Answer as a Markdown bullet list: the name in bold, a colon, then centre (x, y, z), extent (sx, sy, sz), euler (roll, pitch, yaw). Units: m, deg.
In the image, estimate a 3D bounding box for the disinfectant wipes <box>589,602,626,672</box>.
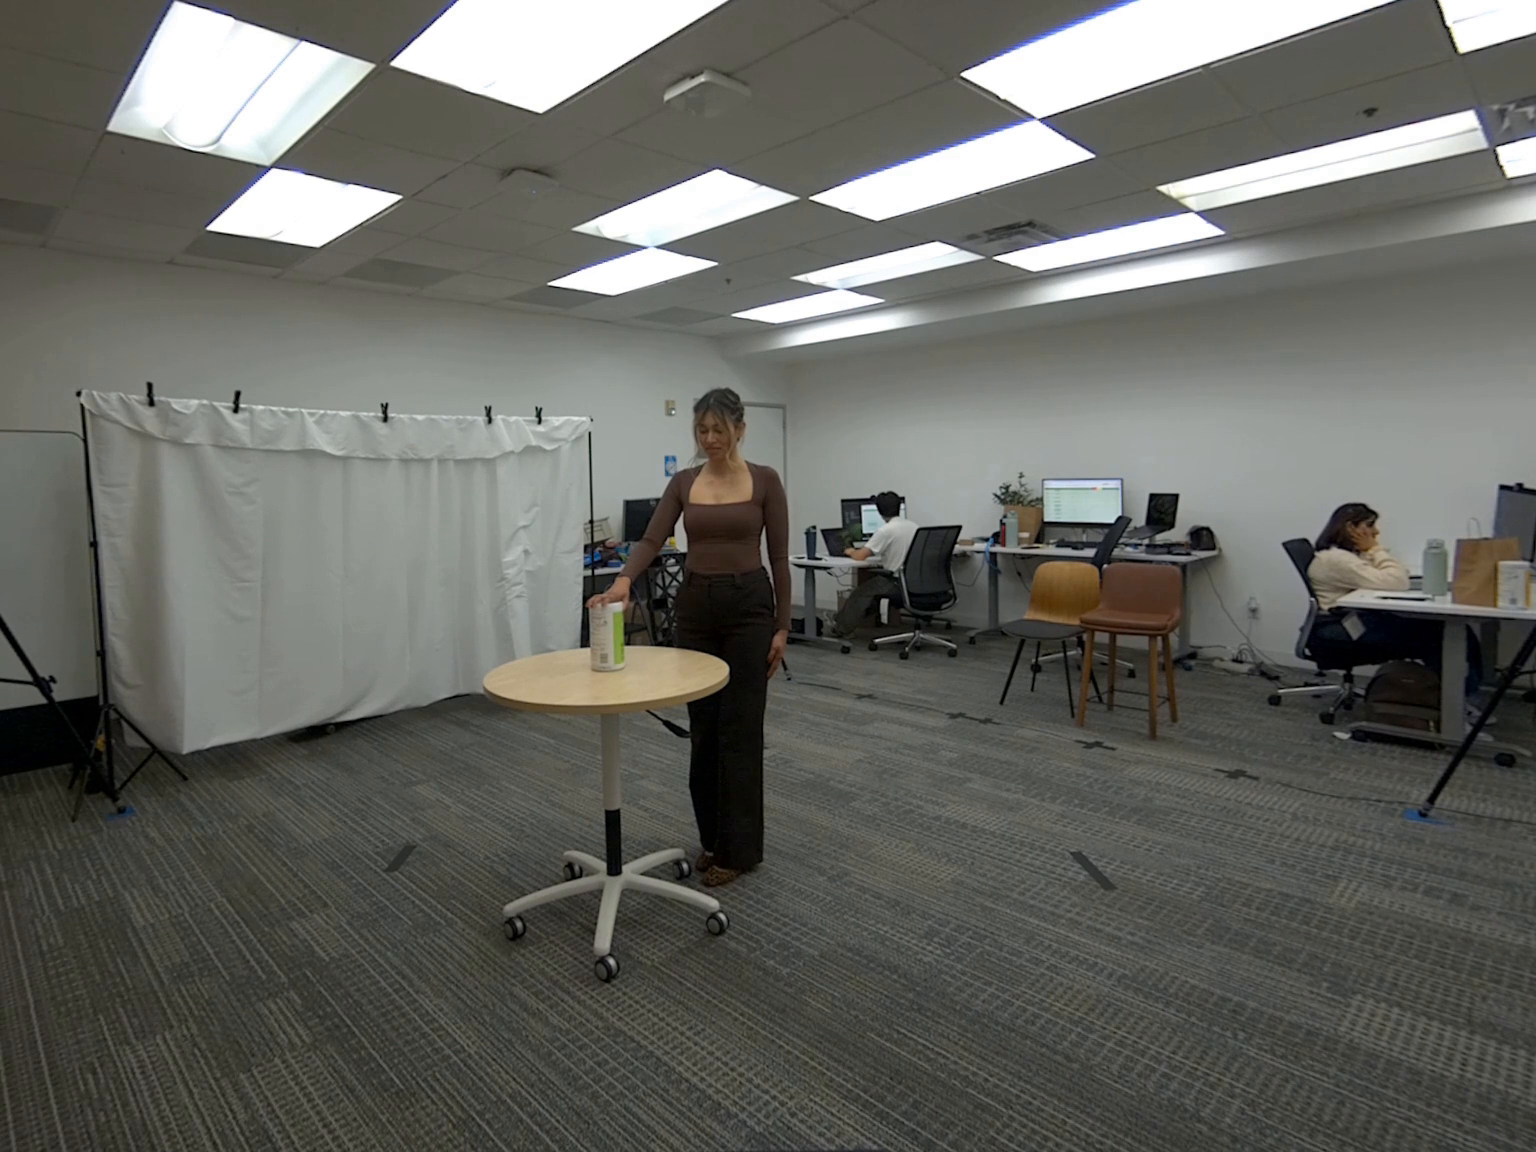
- **disinfectant wipes**: centre (-0.515, 0.189, 2.732), extent (0.118, 0.217, 0.118), euler (0, 2, -2)
